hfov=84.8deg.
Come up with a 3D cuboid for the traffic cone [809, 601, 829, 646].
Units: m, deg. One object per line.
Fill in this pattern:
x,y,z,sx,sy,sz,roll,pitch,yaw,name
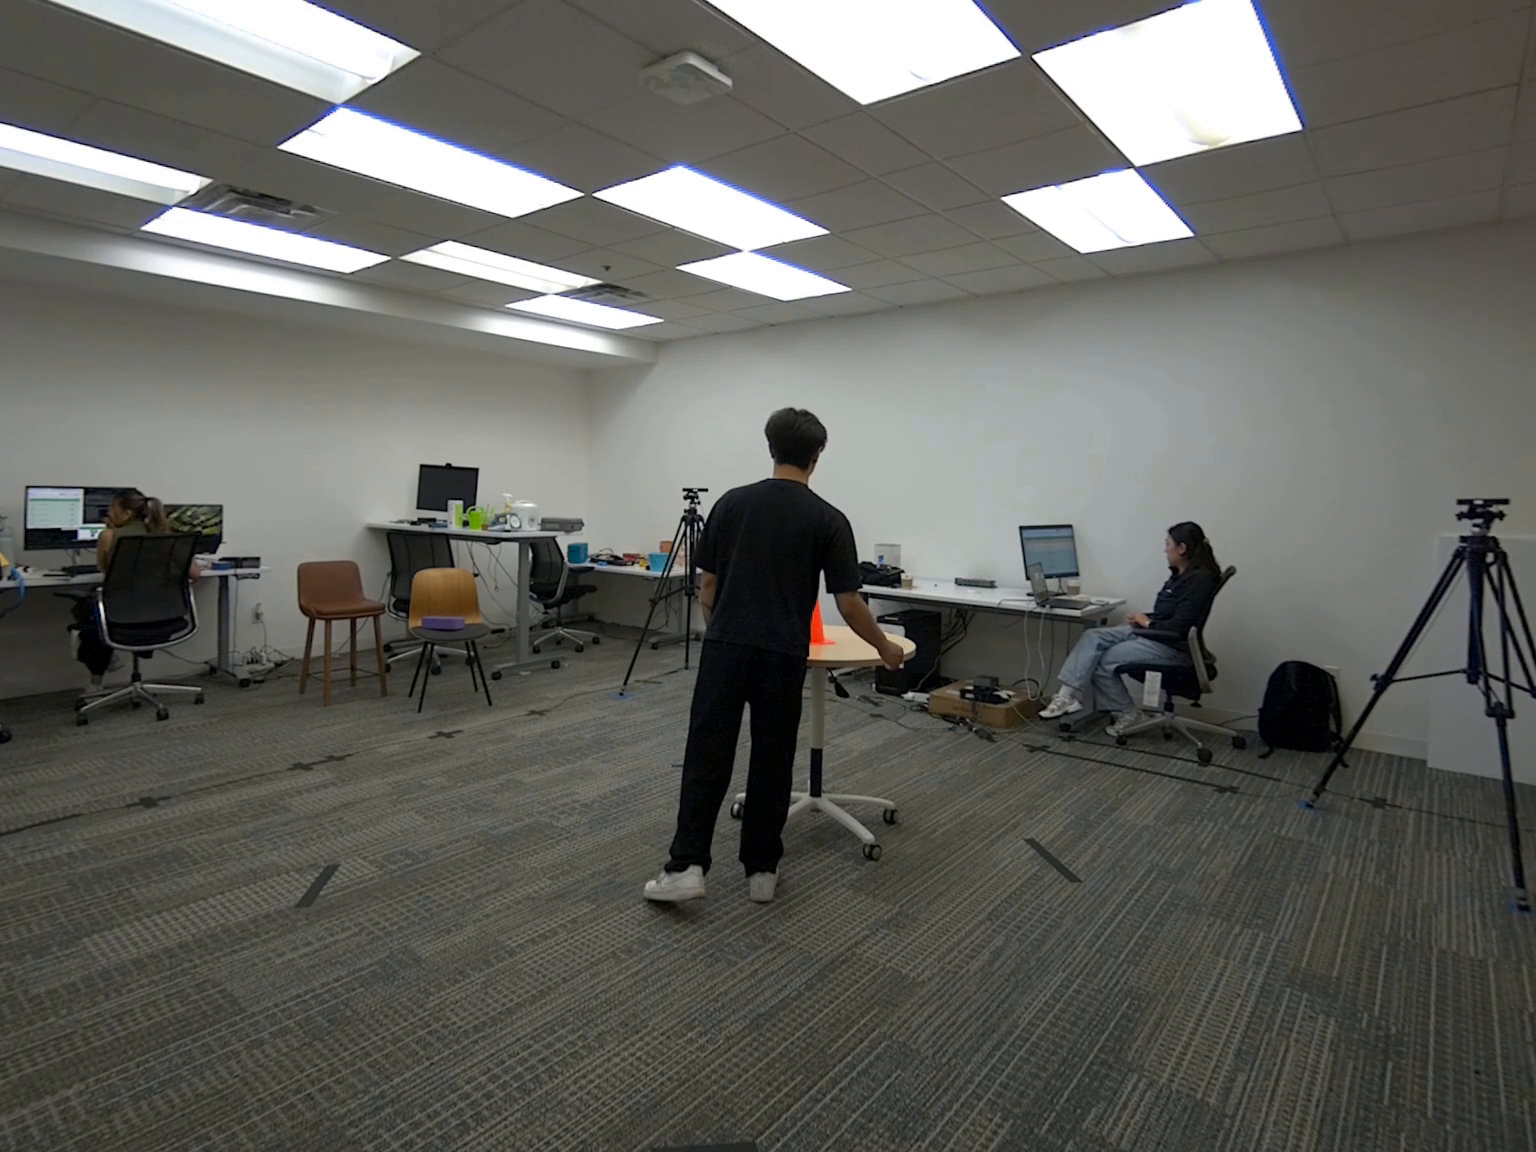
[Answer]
0.148,0.074,3.464,0.200,0.382,0.209,0,4,-15,traffic cone
